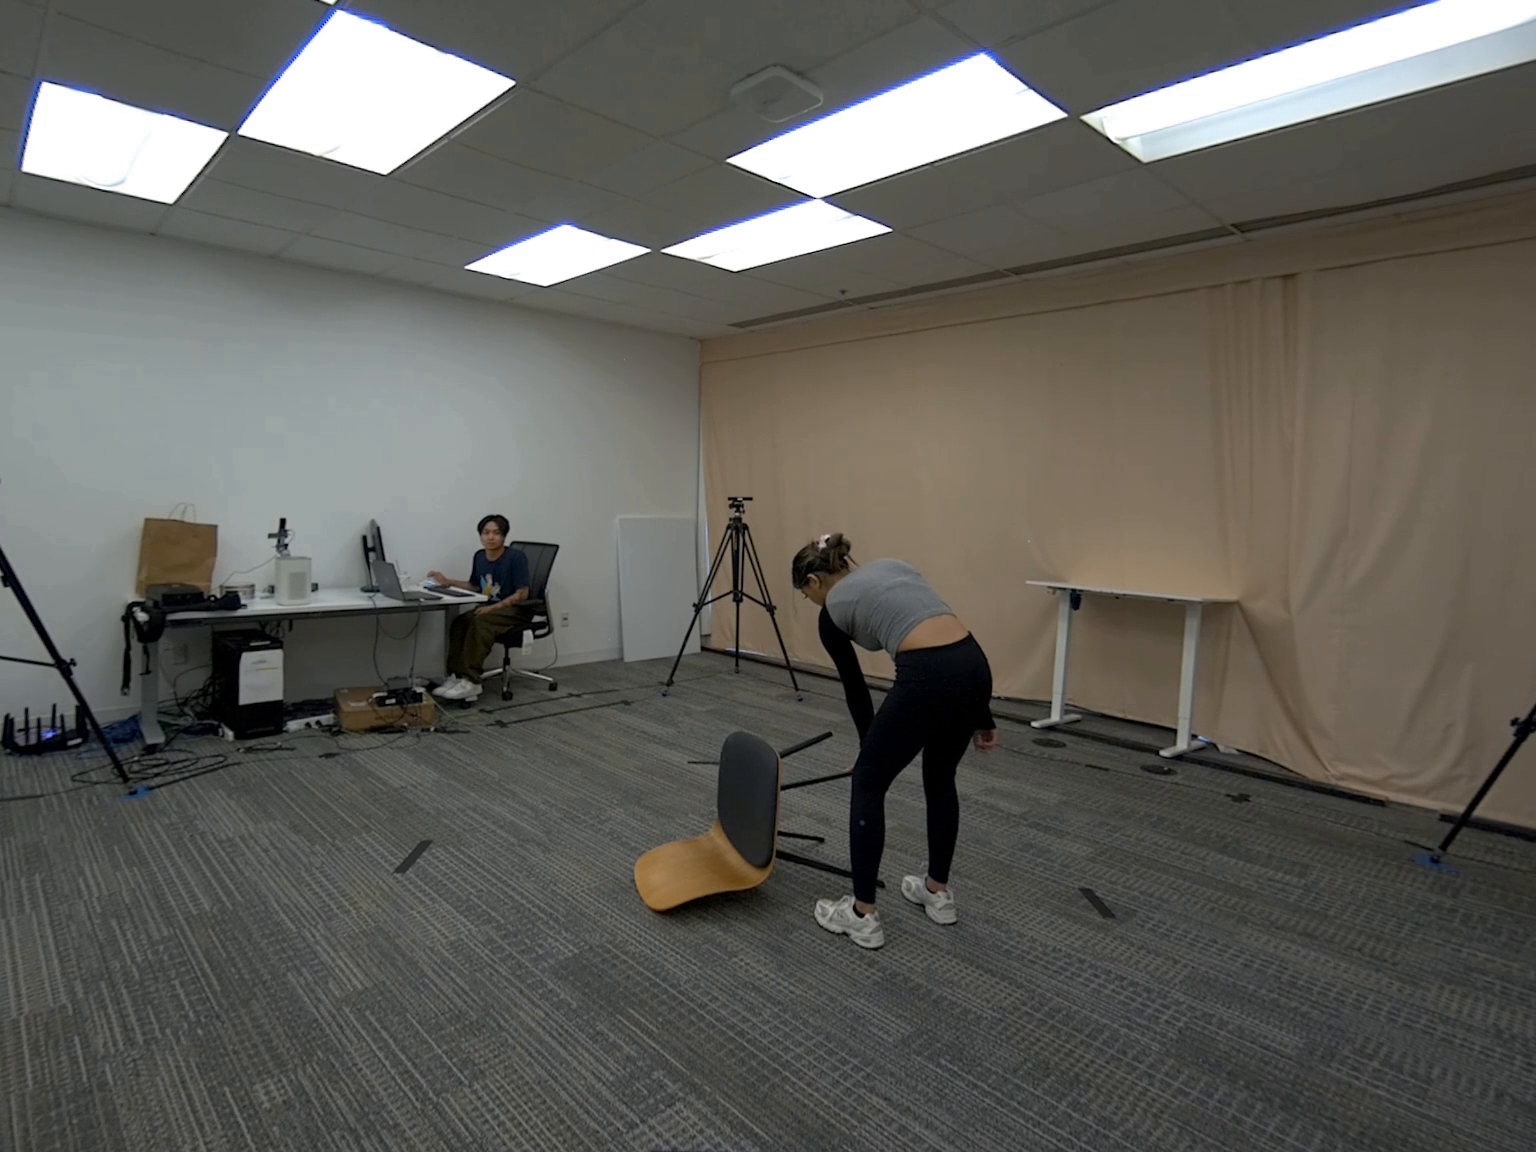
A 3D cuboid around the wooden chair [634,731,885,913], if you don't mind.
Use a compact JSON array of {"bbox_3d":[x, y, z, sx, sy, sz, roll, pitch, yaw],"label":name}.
[{"bbox_3d":[-0.040,0.851,3.063,0.862,0.522,0.488,-2,5,-25],"label":"wooden chair"}]
